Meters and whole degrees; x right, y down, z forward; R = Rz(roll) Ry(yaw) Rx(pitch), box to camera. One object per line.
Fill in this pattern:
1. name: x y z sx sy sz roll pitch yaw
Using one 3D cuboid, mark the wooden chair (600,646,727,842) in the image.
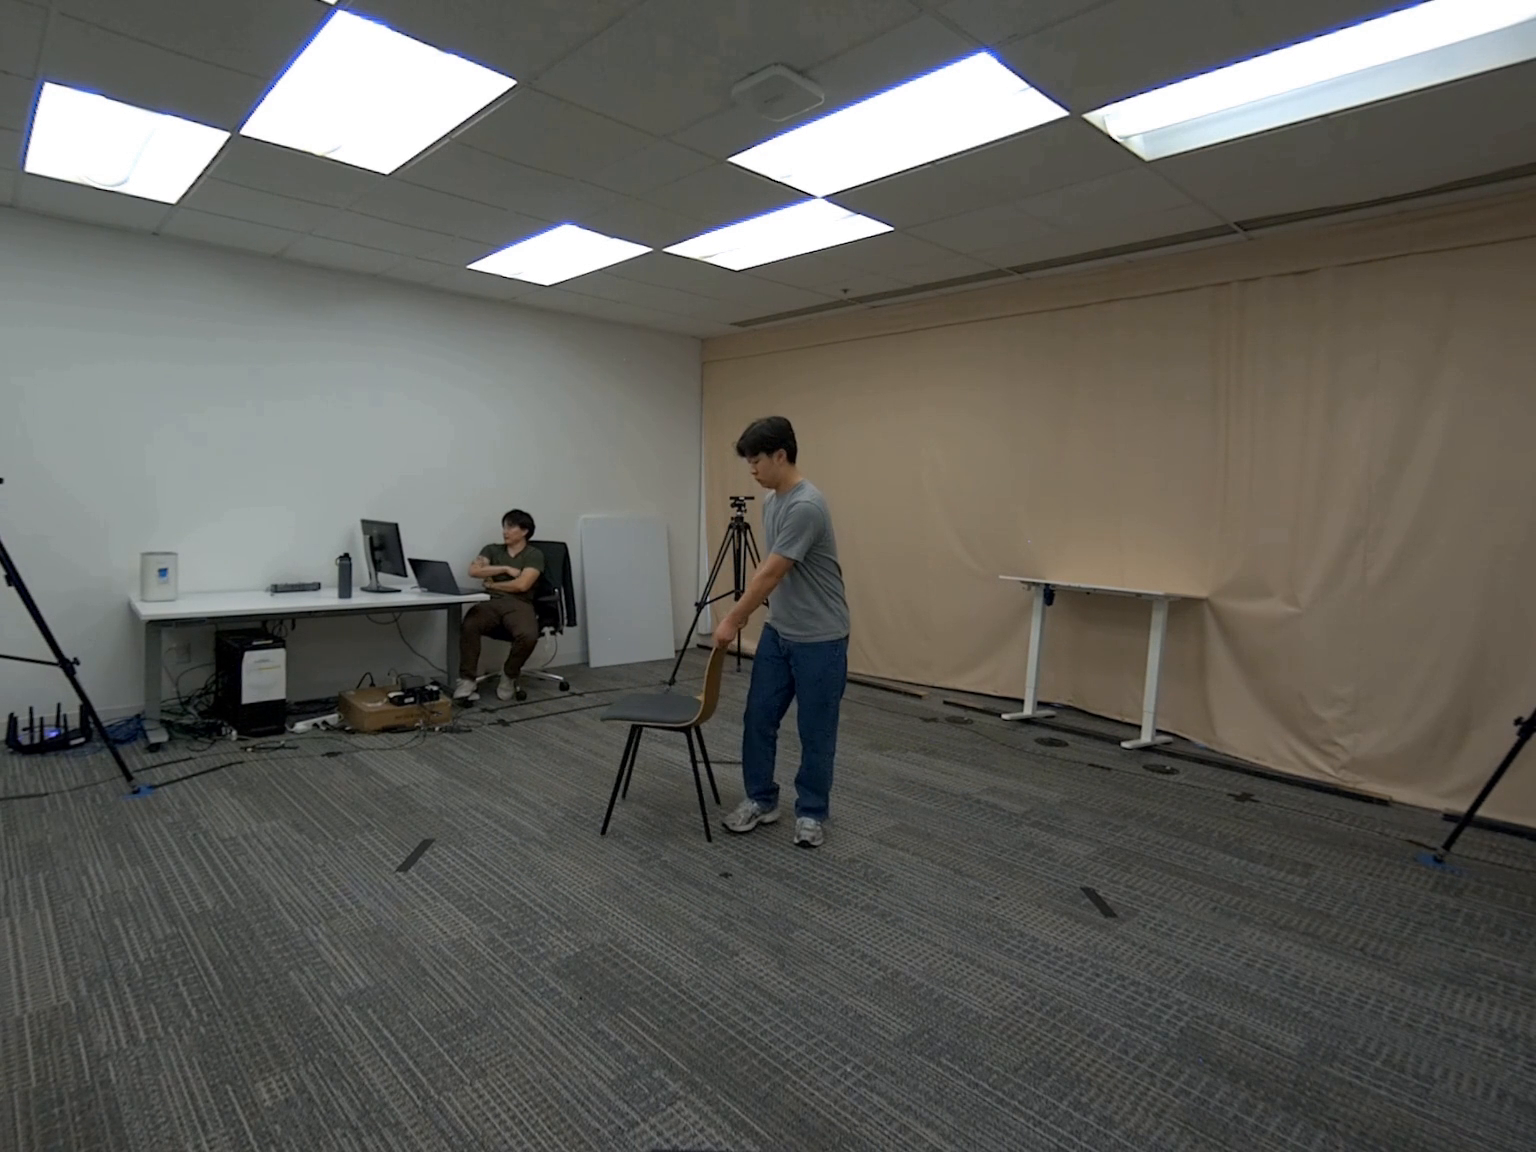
1. wooden chair: -0.445 0.620 3.583 0.524 0.875 0.478 7 4 2
